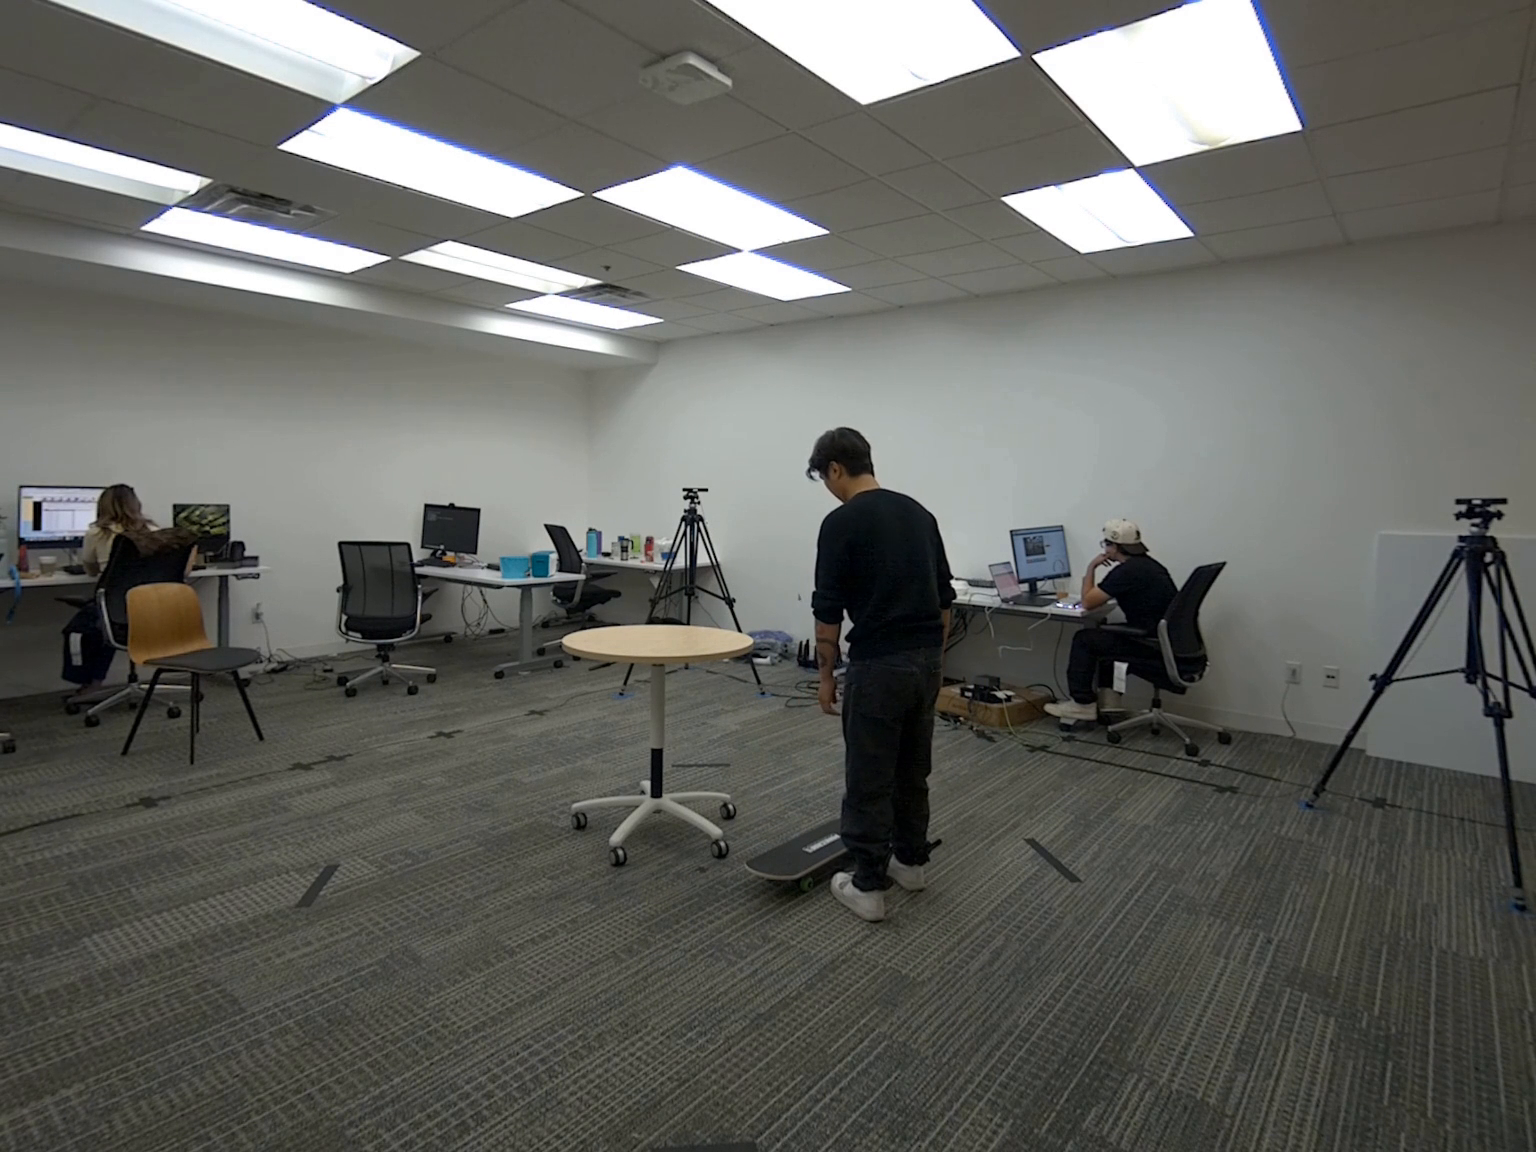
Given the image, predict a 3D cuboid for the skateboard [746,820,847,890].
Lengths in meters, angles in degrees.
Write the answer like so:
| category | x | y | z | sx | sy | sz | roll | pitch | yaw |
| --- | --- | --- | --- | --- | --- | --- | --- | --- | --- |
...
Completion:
| category | x | y | z | sx | sy | sz | roll | pitch | yaw |
| --- | --- | --- | --- | --- | --- | --- | --- | --- | --- |
| skateboard | 0.198 | 1.019 | 3.156 | 0.200 | 0.110 | 0.762 | 6 | 7 | 40 |
